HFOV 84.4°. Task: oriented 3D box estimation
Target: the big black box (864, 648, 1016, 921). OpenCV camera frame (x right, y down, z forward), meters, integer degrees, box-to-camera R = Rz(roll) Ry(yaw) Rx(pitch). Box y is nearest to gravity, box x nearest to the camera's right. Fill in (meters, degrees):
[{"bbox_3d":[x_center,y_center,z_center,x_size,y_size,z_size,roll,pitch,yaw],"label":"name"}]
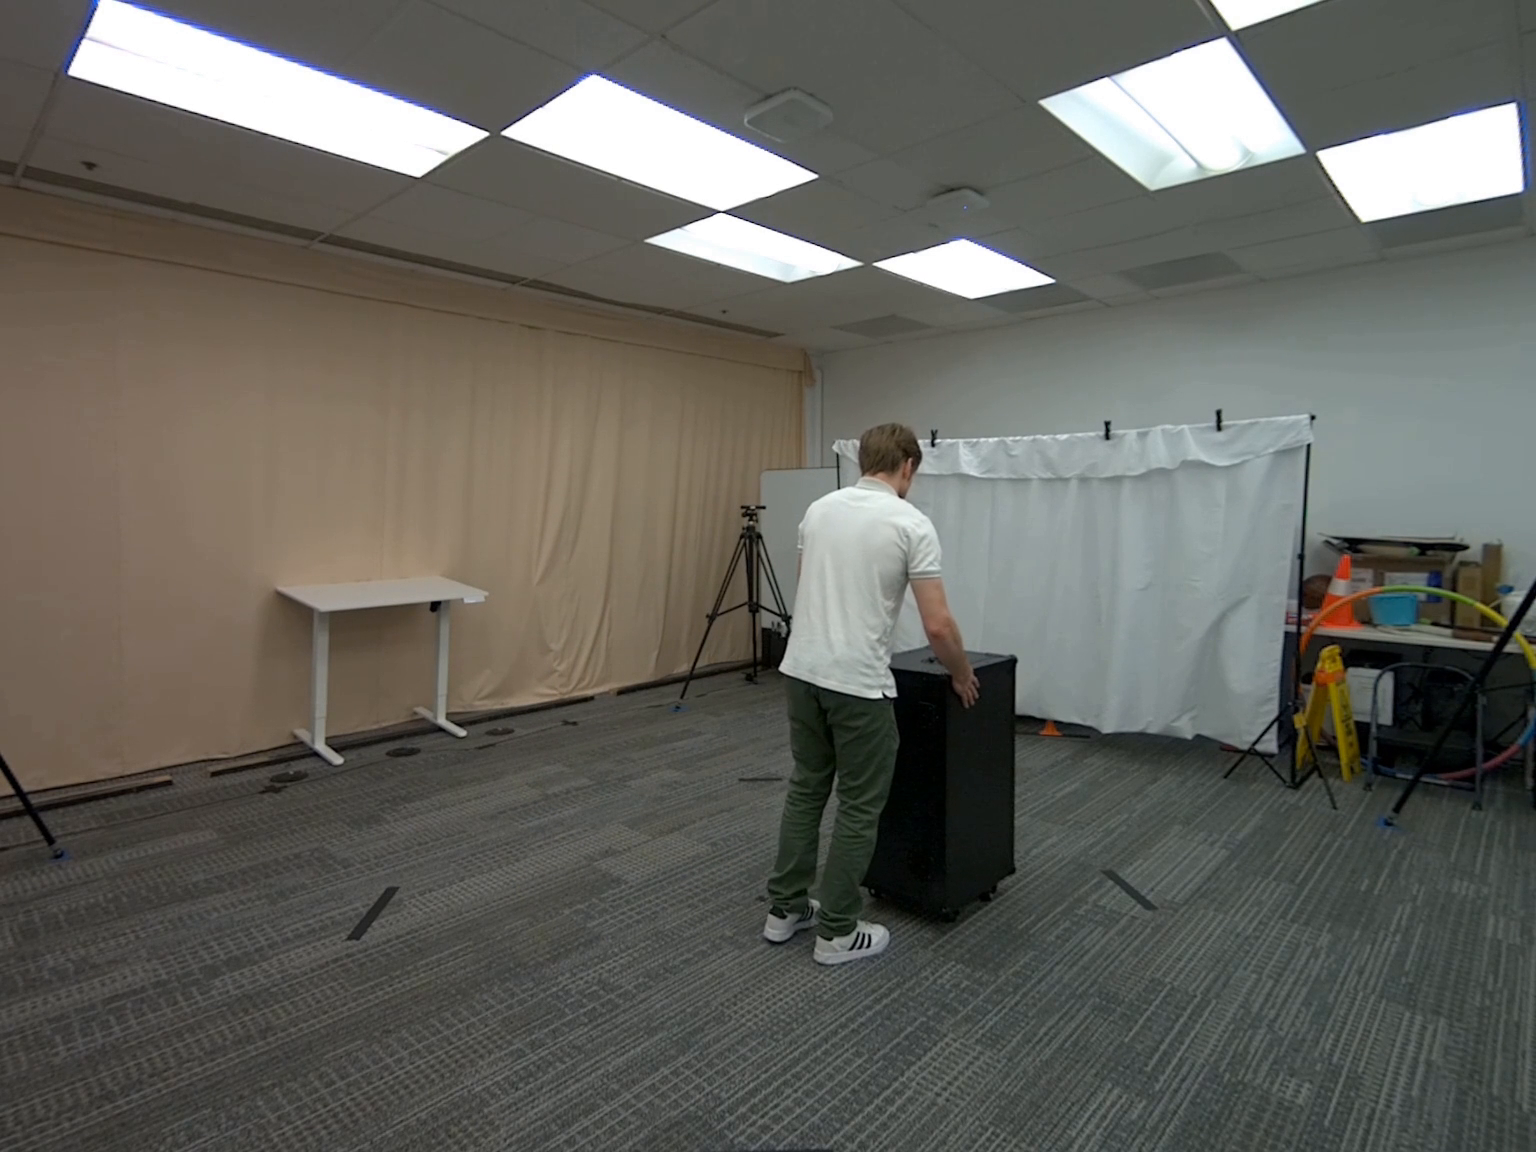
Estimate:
[{"bbox_3d":[0.598,0.723,2.970,0.398,0.867,0.507,2,4,43],"label":"big black box"}]
